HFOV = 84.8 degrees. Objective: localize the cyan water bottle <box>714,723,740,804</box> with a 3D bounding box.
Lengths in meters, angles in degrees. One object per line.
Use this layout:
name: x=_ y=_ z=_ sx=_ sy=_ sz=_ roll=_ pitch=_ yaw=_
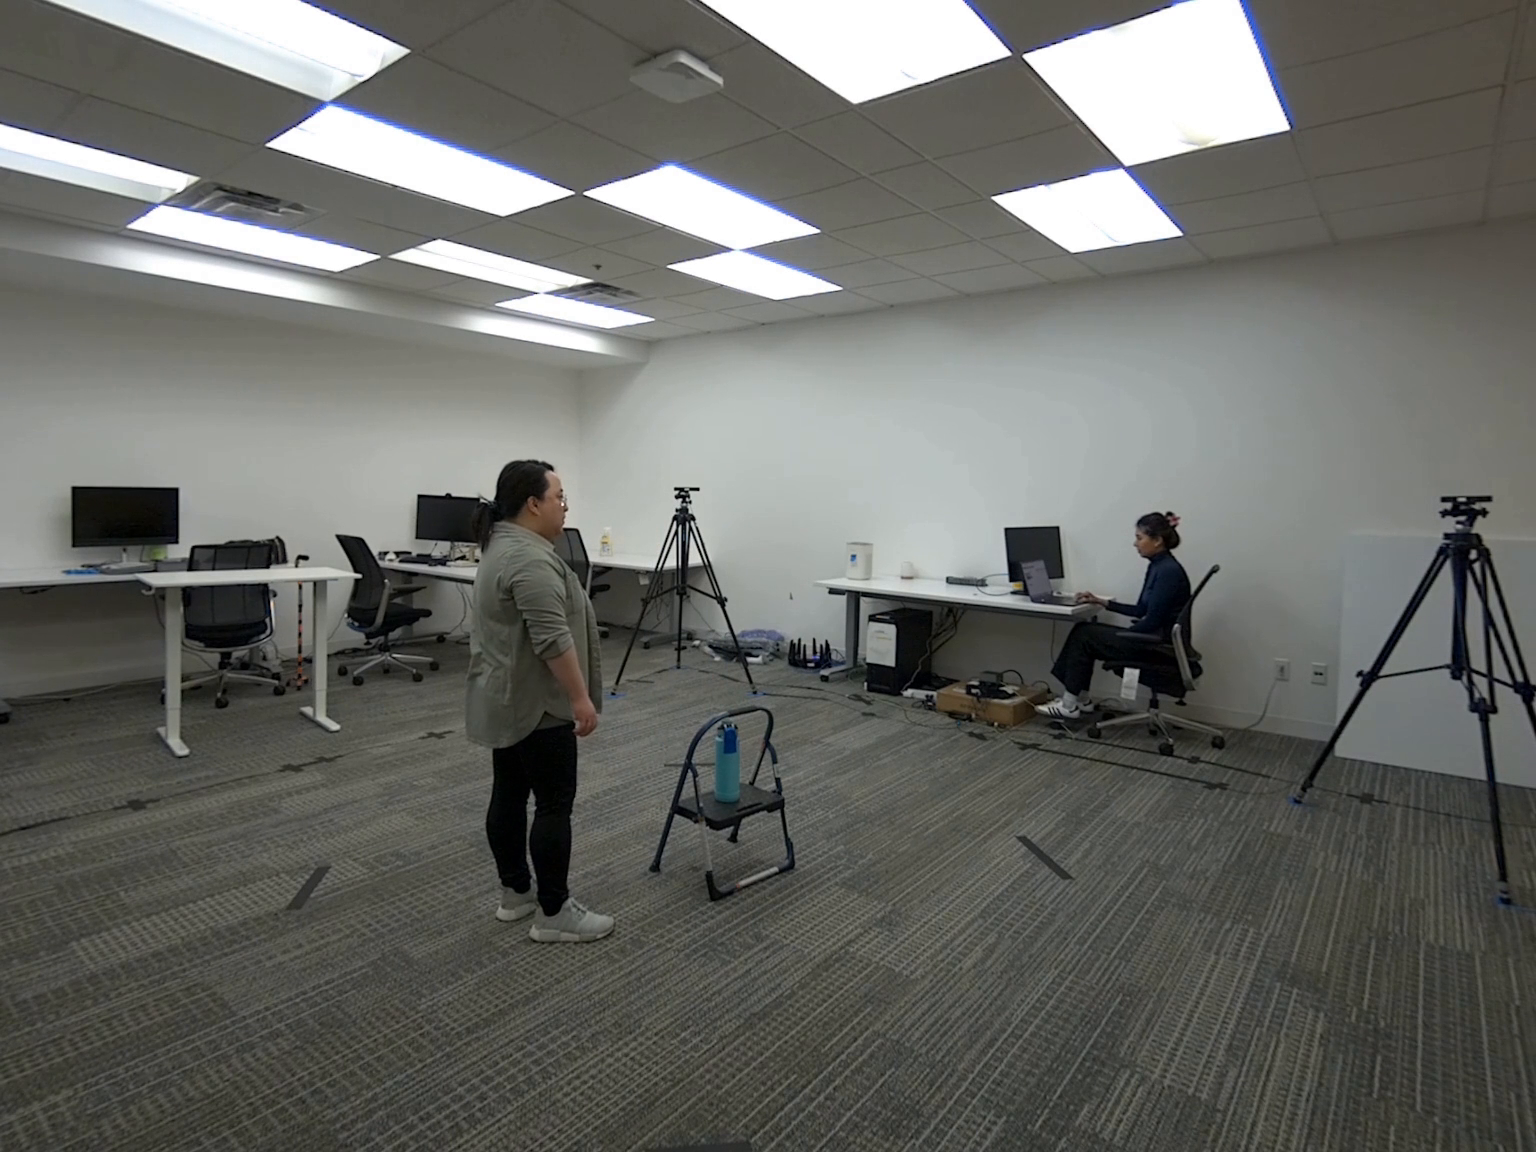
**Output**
cyan water bottle: x=-0.152 y=0.668 z=3.094 sx=0.092 sy=0.283 sz=0.092 roll=0 pitch=2 yaw=-2
